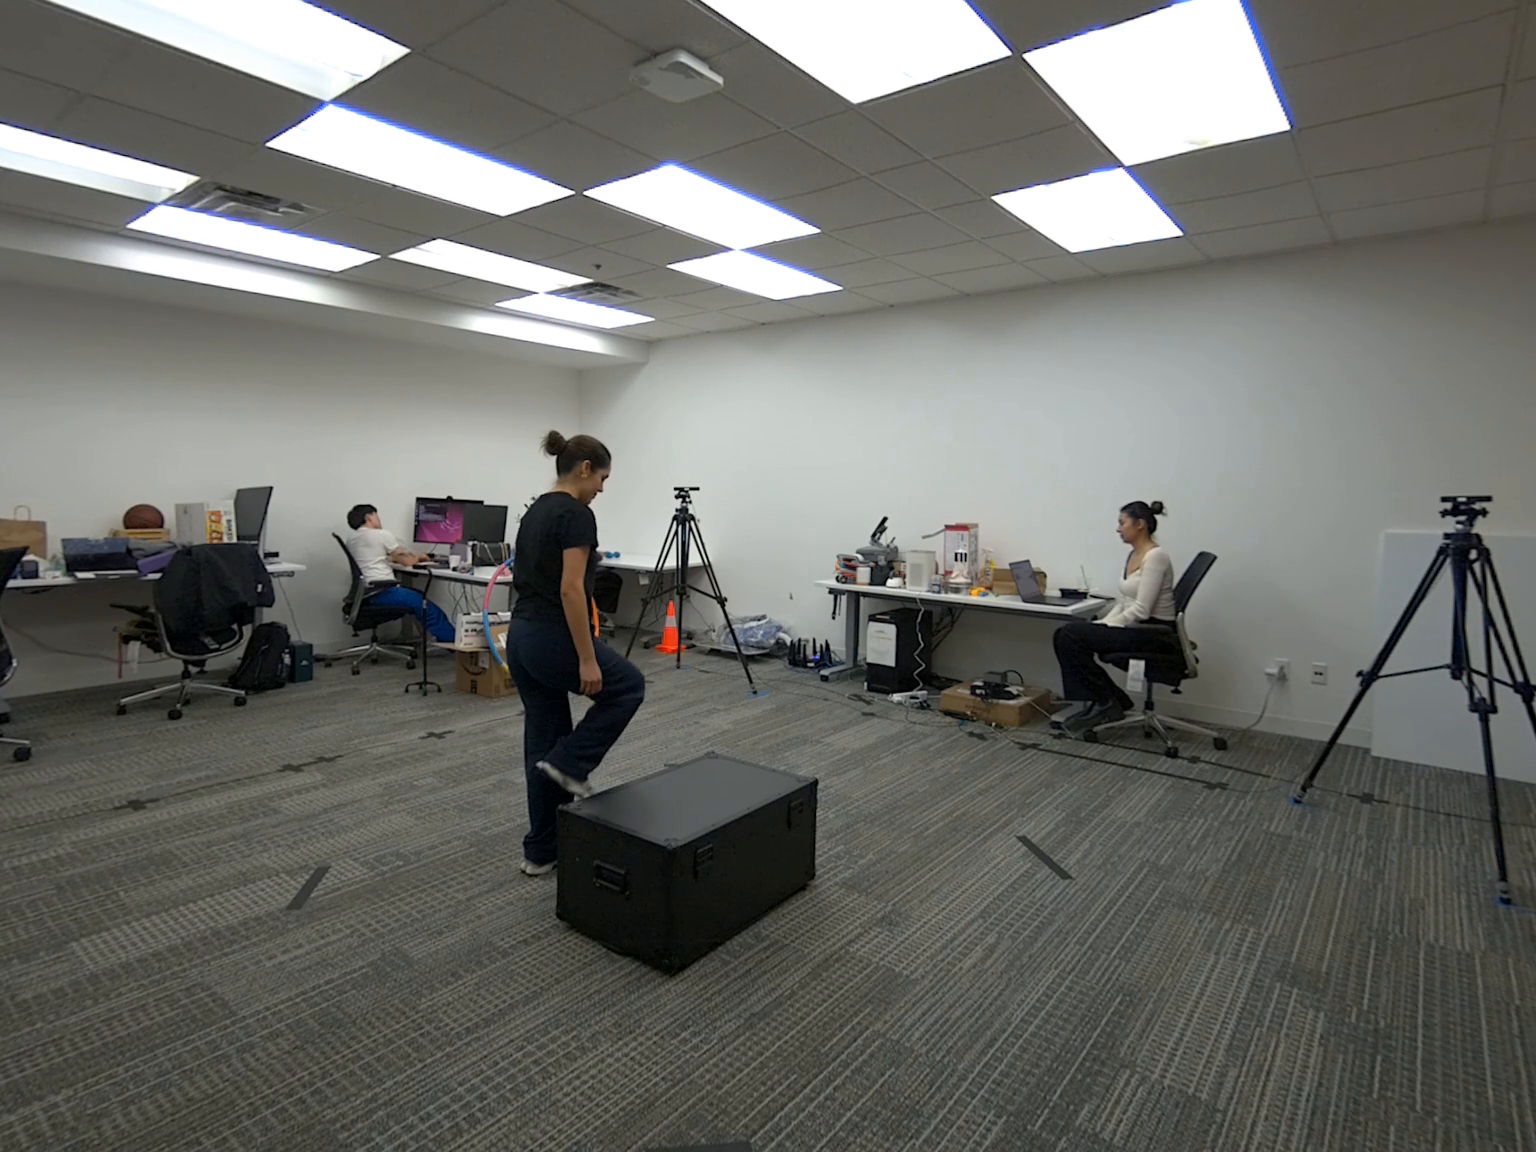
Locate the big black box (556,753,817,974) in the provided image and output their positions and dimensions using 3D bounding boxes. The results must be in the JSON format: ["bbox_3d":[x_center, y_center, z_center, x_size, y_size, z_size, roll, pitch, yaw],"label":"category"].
[{"bbox_3d":[-0.214,0.899,2.868,0.538,0.394,0.837,4,7,36],"label":"big black box"}]
